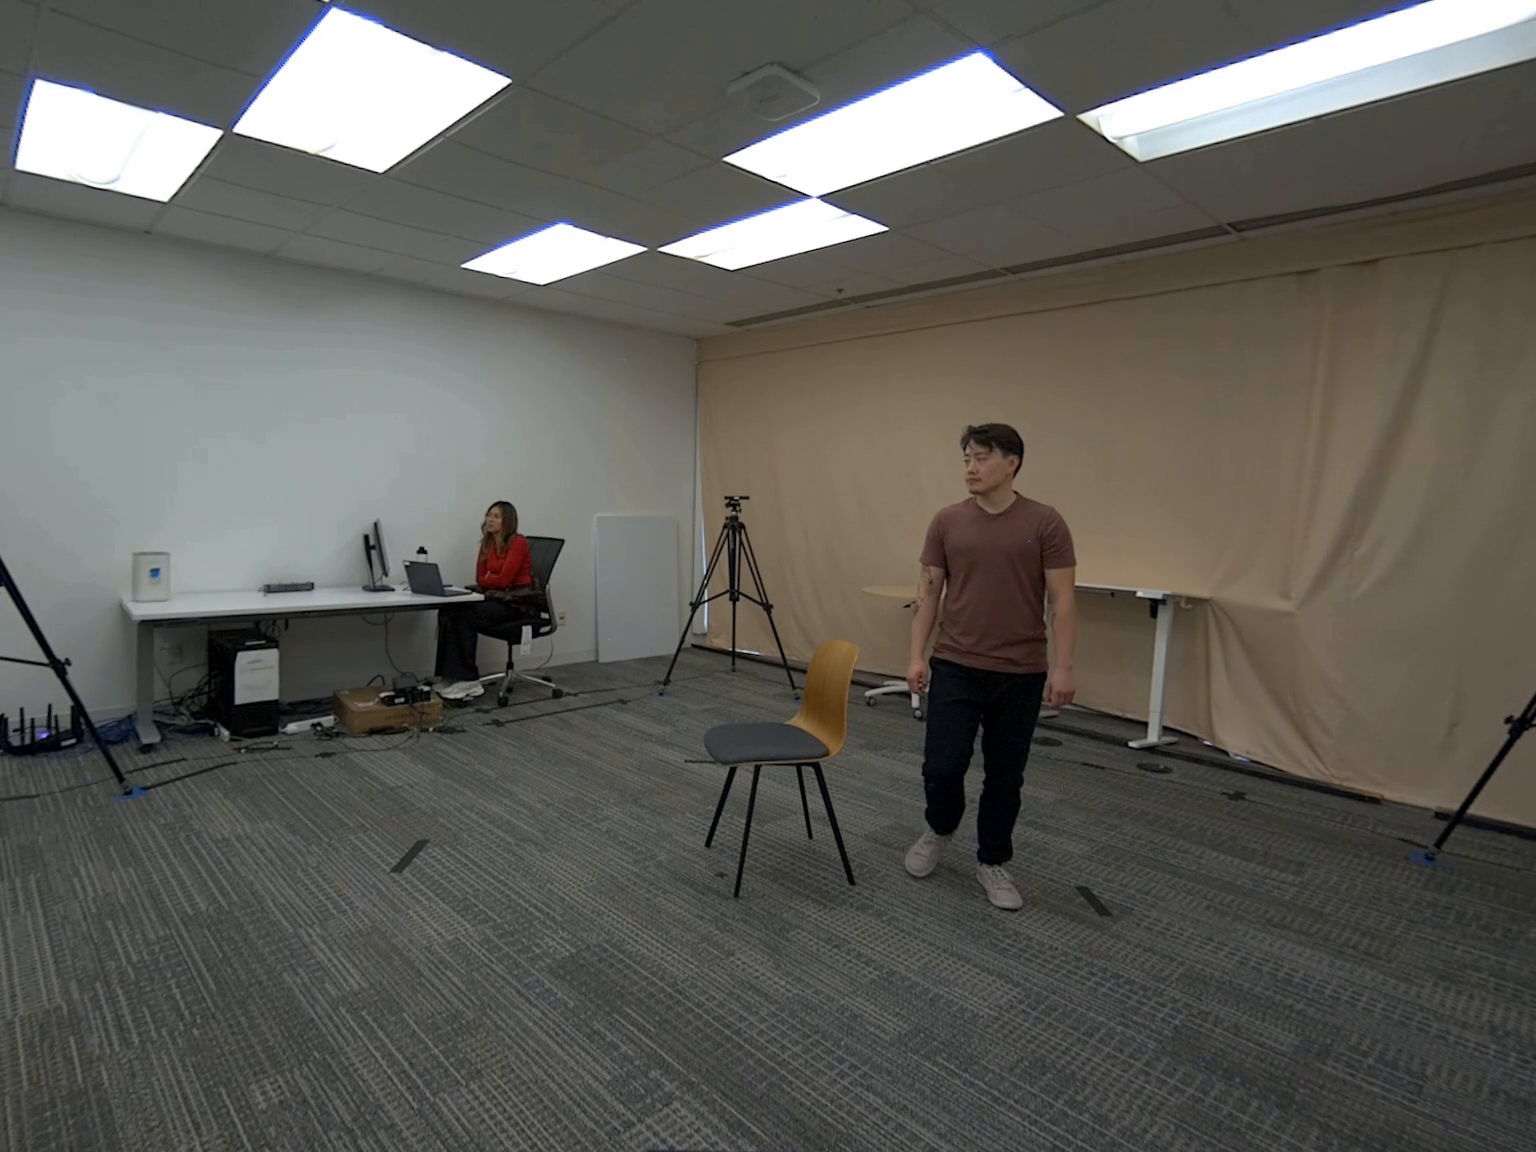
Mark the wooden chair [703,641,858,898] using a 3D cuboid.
[{"bbox_3d":[0.032,0.677,3.167,0.516,0.876,0.485,5,2,-17],"label":"wooden chair"}]
